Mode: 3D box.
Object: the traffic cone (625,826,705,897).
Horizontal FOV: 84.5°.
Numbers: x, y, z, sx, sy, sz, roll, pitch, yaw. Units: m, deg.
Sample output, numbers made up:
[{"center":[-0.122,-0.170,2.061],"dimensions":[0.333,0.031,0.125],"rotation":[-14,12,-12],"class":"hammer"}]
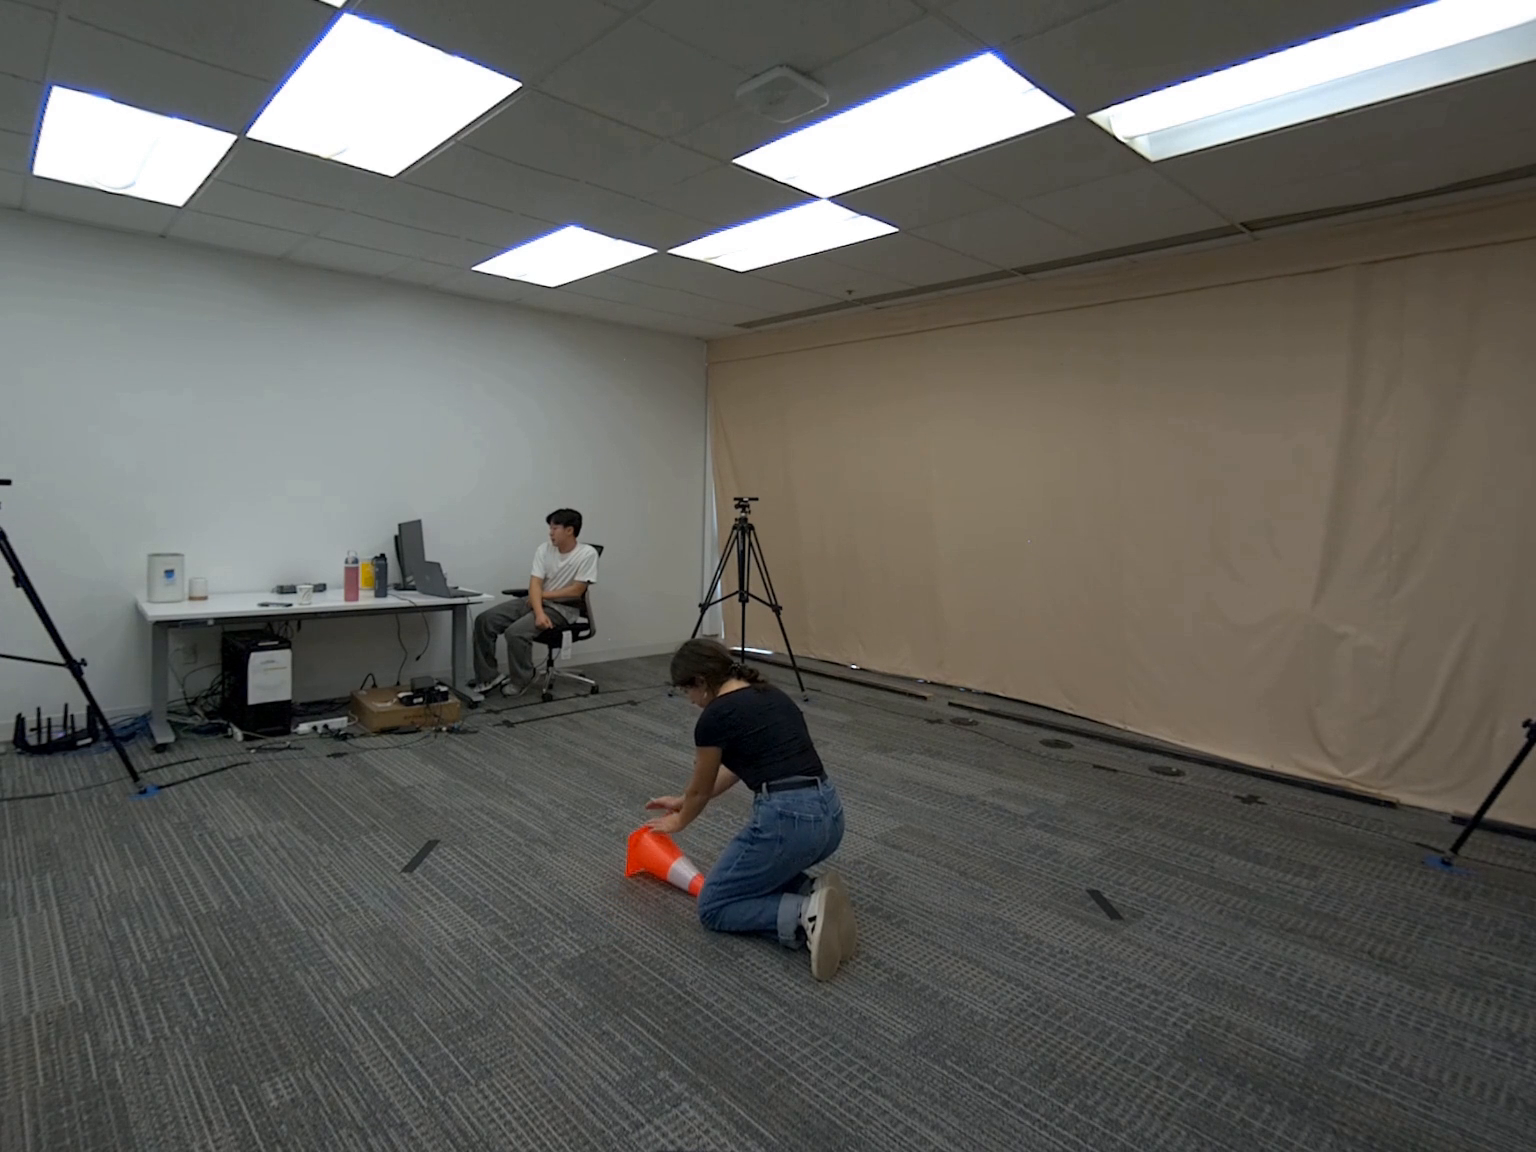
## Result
[{"center":[-0.321,1.064,2.981],"dimensions":[0.201,0.200,0.395],"rotation":[-16,30,-42],"class":"traffic cone"}]
